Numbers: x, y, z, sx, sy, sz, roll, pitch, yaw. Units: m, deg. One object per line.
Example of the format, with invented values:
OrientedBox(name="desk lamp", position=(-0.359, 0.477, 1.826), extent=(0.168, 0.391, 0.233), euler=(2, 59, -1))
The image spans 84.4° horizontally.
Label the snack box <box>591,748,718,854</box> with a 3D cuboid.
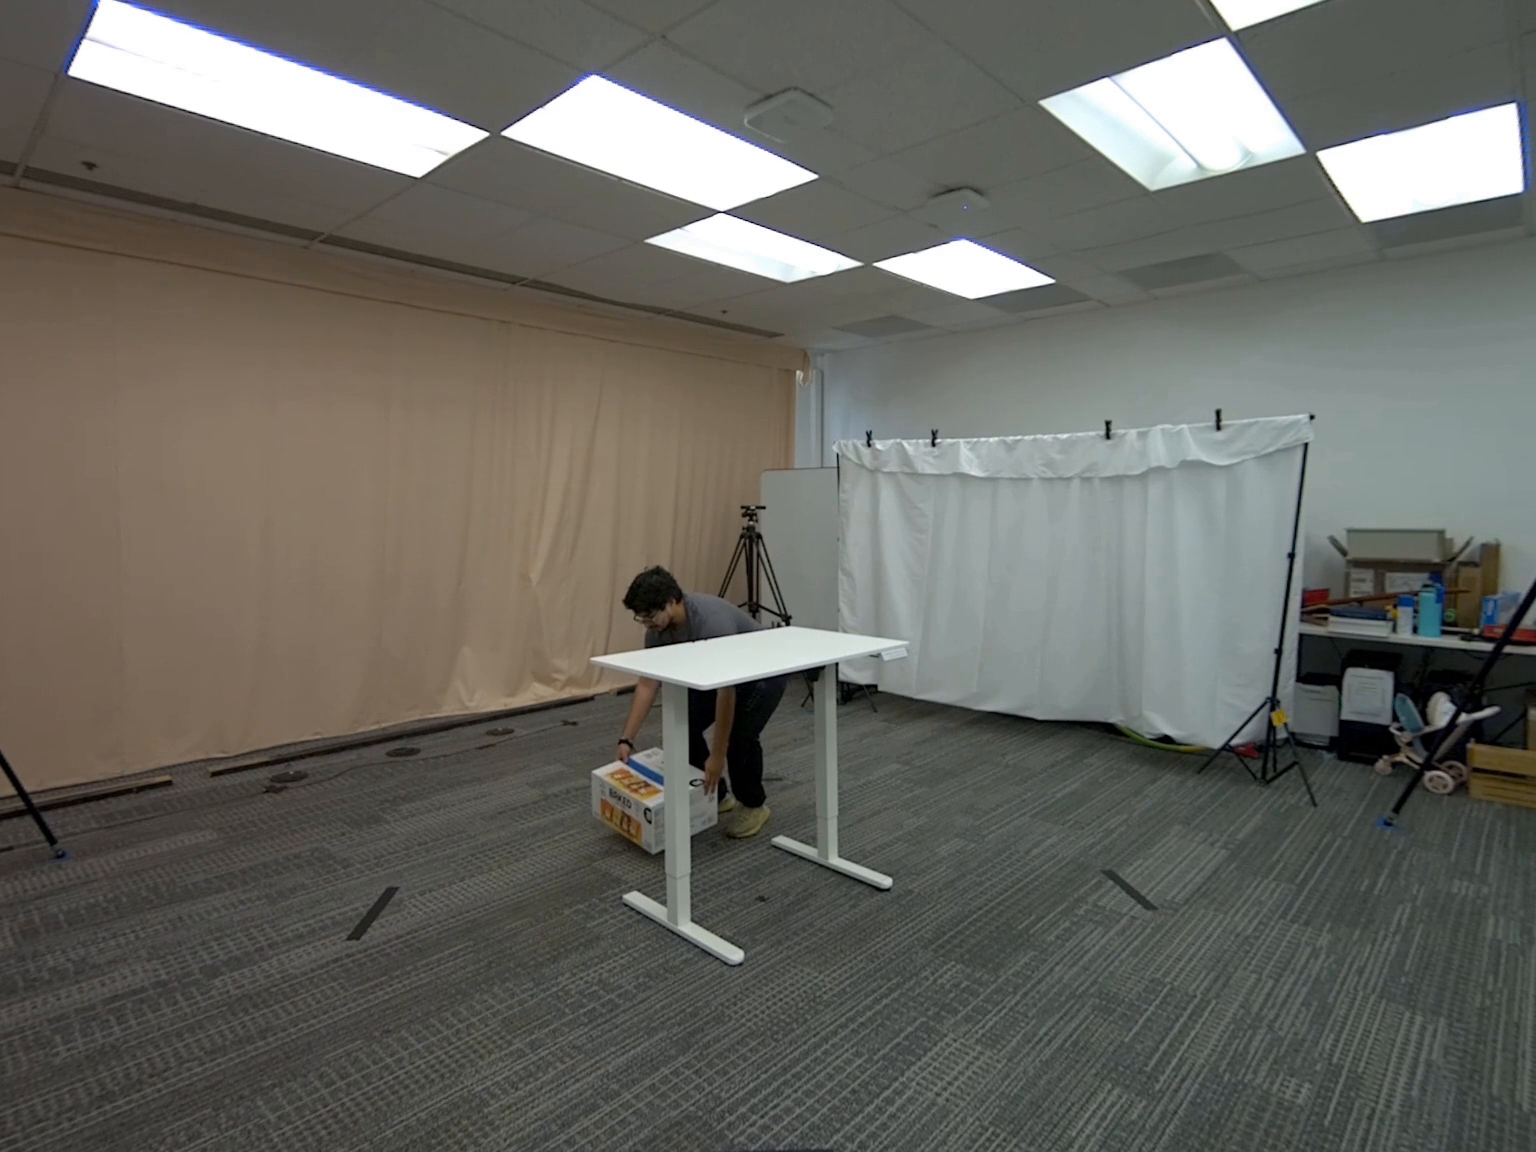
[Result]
OrientedBox(name="snack box", position=(-0.471, 0.910, 3.471), extent=(0.331, 0.204, 0.420), euler=(-12, 18, -42))
